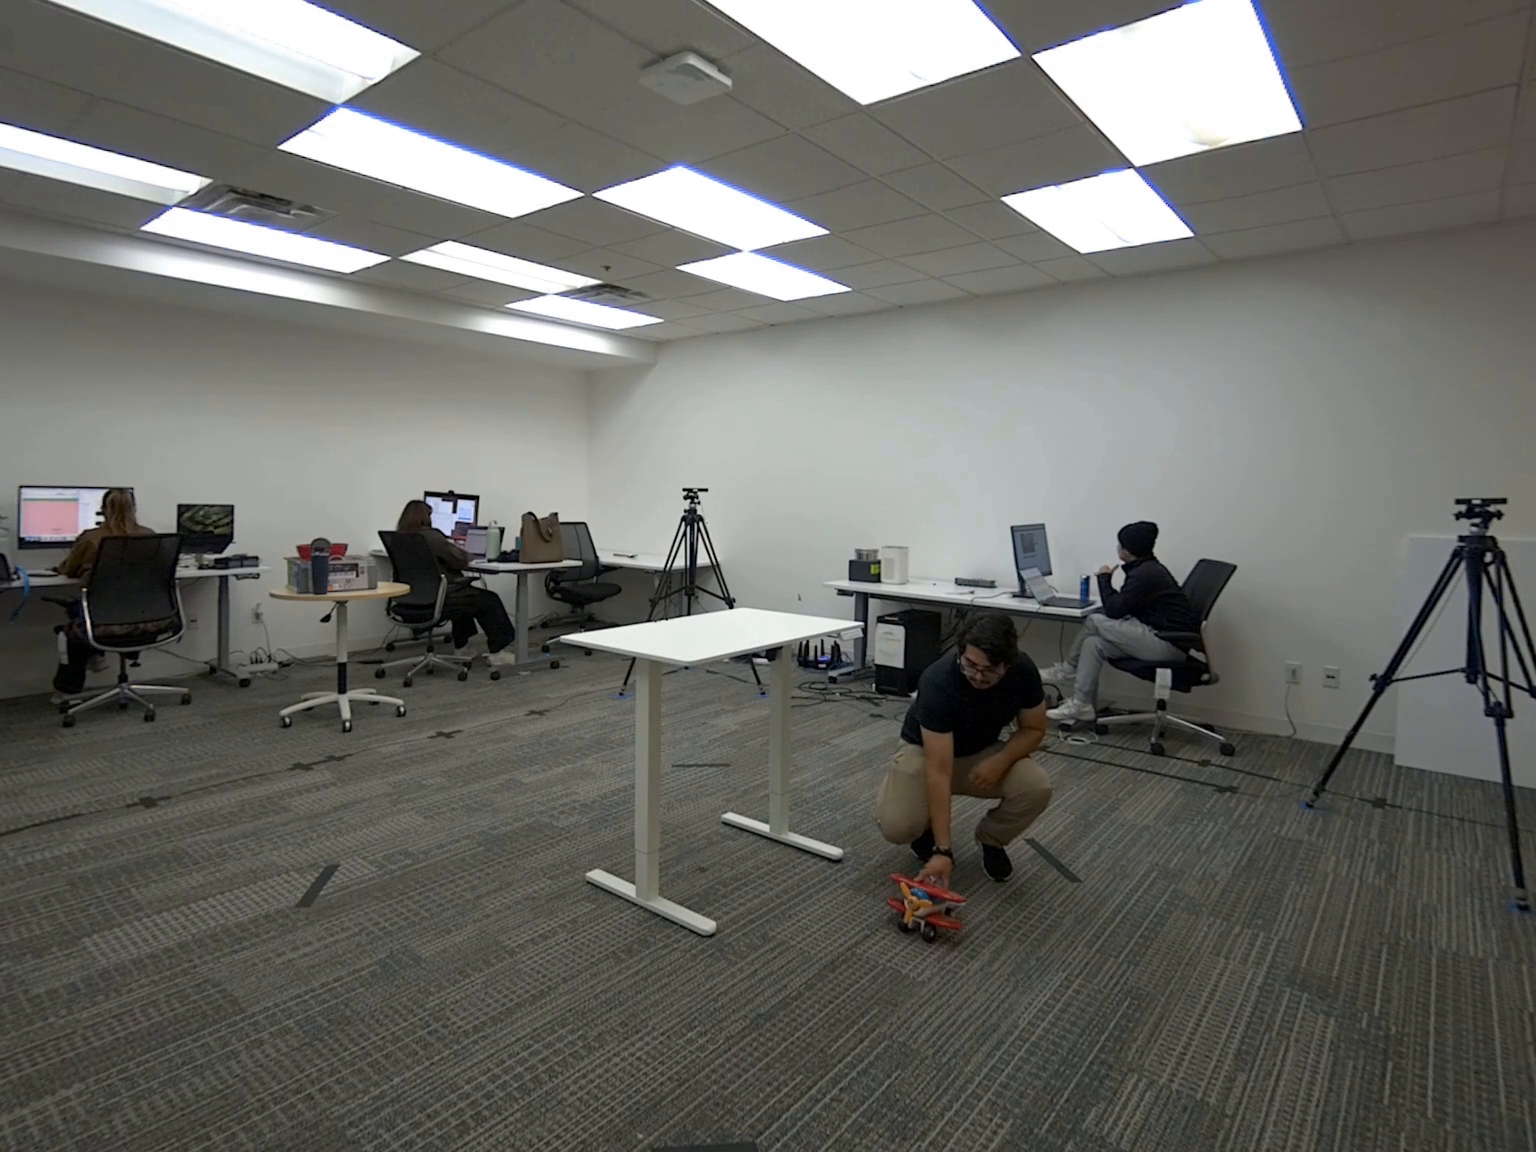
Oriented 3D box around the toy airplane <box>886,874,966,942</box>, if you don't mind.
[{"bbox_3d":[0.501,1.046,2.748,0.255,0.156,0.256,3,5,13],"label":"toy airplane"}]
